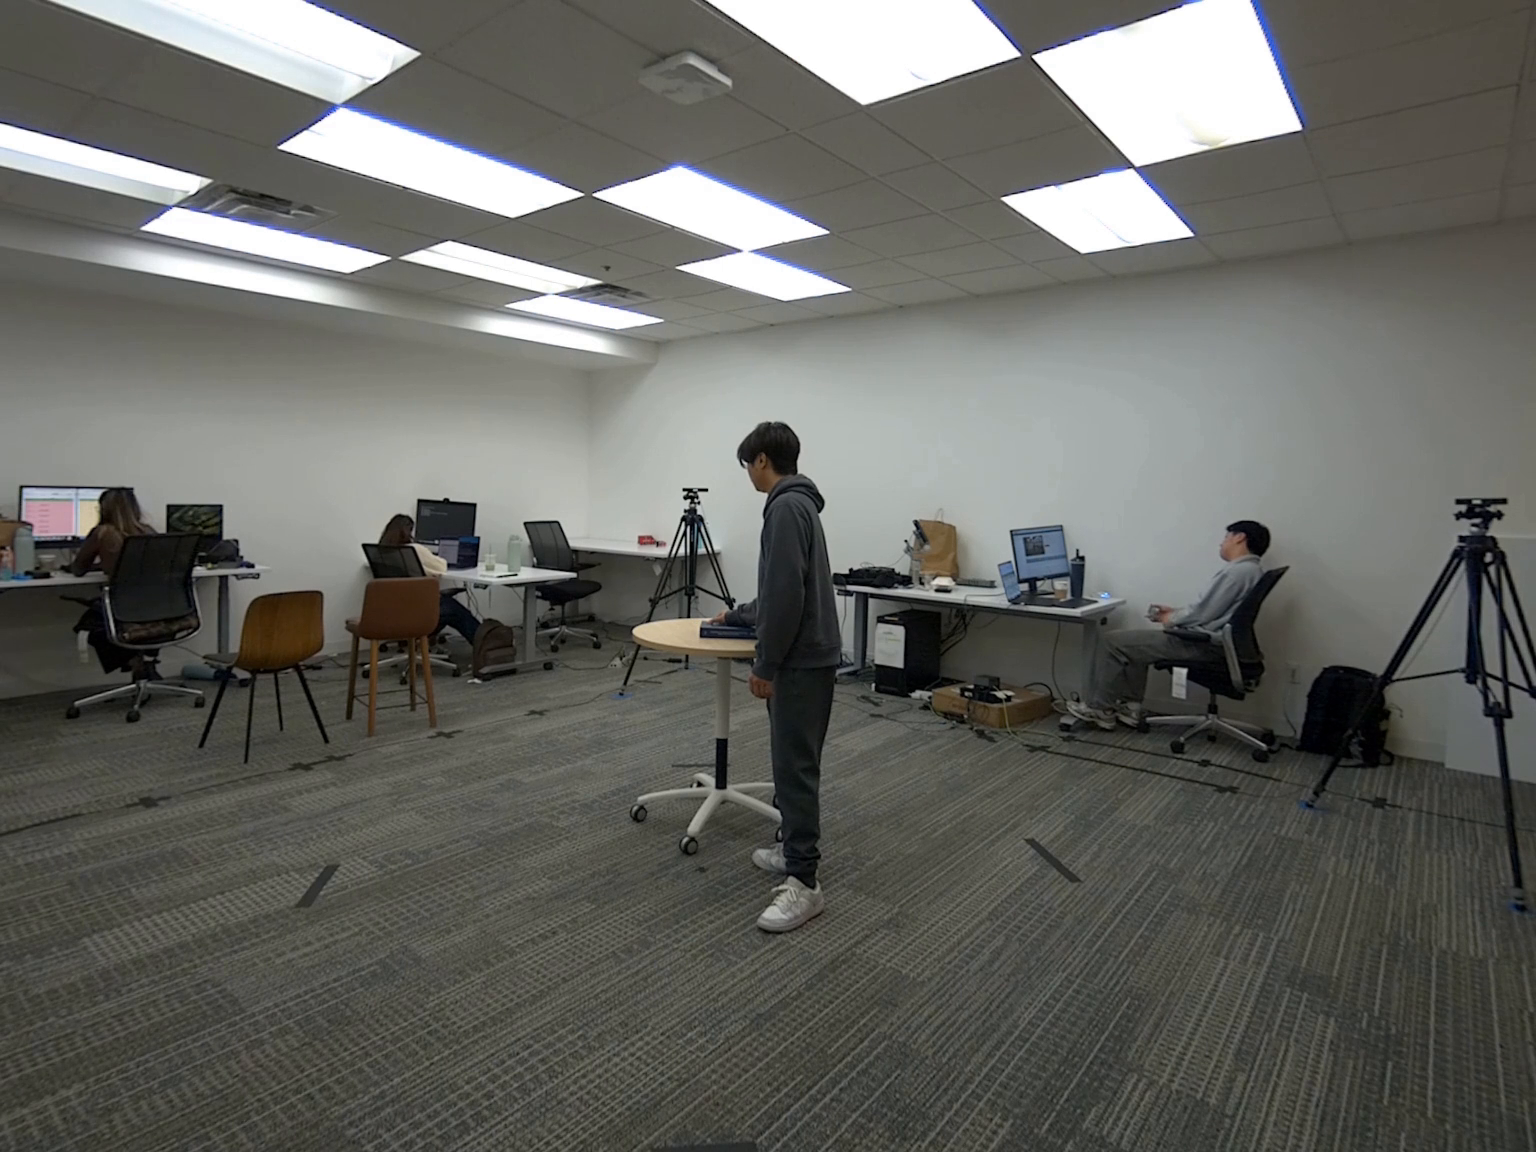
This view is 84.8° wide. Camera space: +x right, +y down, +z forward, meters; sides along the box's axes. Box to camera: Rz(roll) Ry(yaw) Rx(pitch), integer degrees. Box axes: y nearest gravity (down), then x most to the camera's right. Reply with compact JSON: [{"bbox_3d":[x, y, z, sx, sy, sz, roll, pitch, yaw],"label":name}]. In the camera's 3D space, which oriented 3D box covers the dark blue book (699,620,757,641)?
[{"bbox_3d":[-0.161,0.219,3.467,0.246,0.045,0.163,1,5,2],"label":"dark blue book"}]
